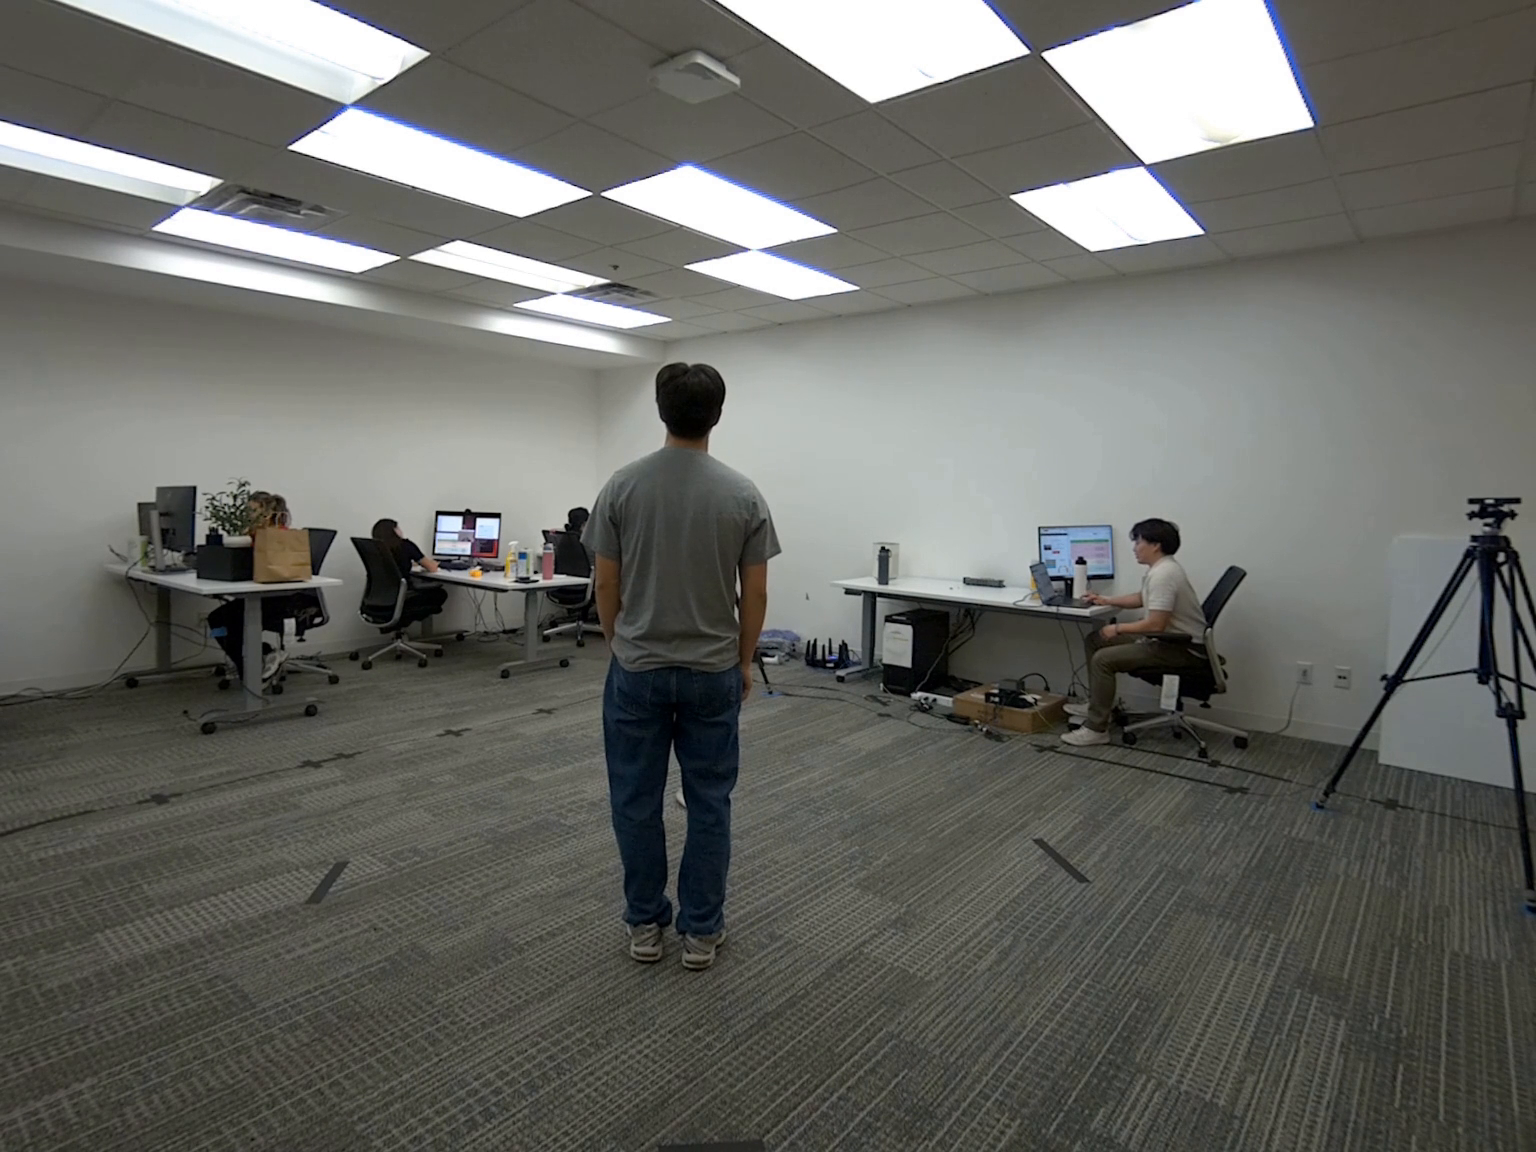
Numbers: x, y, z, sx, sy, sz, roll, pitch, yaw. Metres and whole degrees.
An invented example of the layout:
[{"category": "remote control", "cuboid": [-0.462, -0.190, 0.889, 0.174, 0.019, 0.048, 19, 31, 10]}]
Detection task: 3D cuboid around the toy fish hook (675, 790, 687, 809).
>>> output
[{"category": "toy fish hook", "cuboid": [-0.258, 0.981, 3.635, 0.221, 0.048, 0.517, -3, 6, -16]}]
